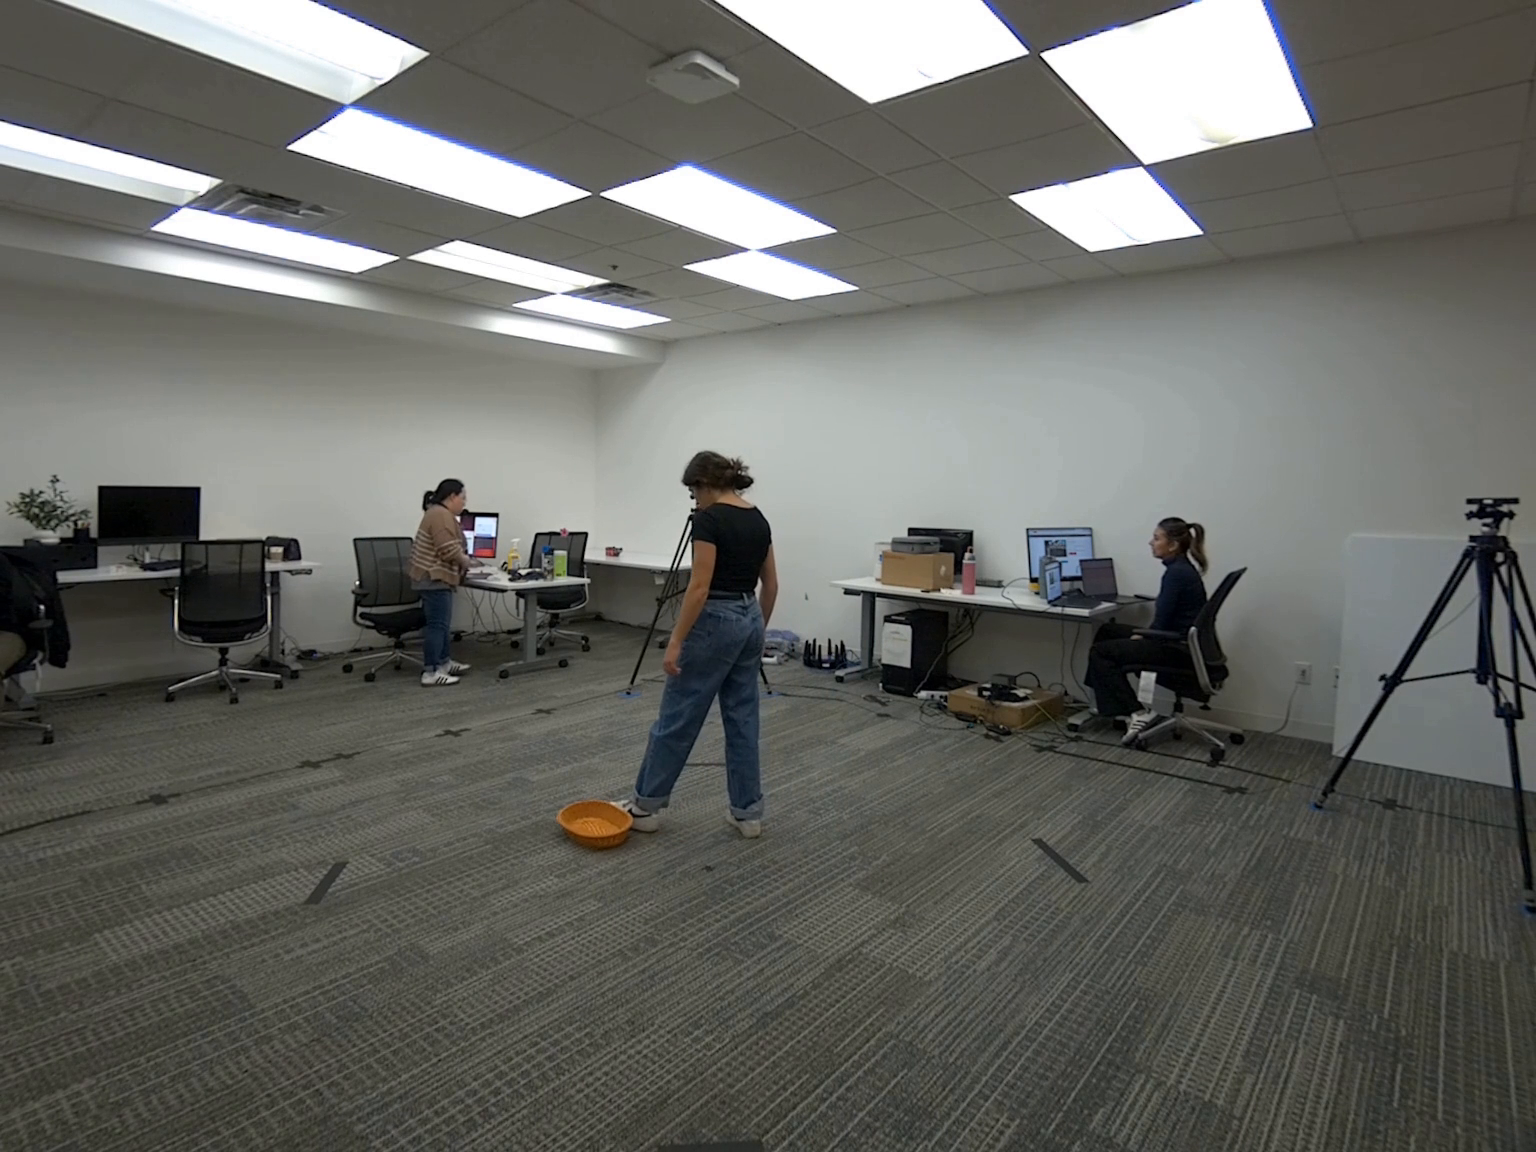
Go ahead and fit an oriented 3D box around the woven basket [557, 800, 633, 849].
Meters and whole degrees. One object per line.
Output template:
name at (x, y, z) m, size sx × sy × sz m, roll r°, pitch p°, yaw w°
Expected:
woven basket at (-0.700, 0.988, 3.382) m, size 0.246 × 0.073 × 0.363 m, roll -9°, pitch 12°, yaw -38°
